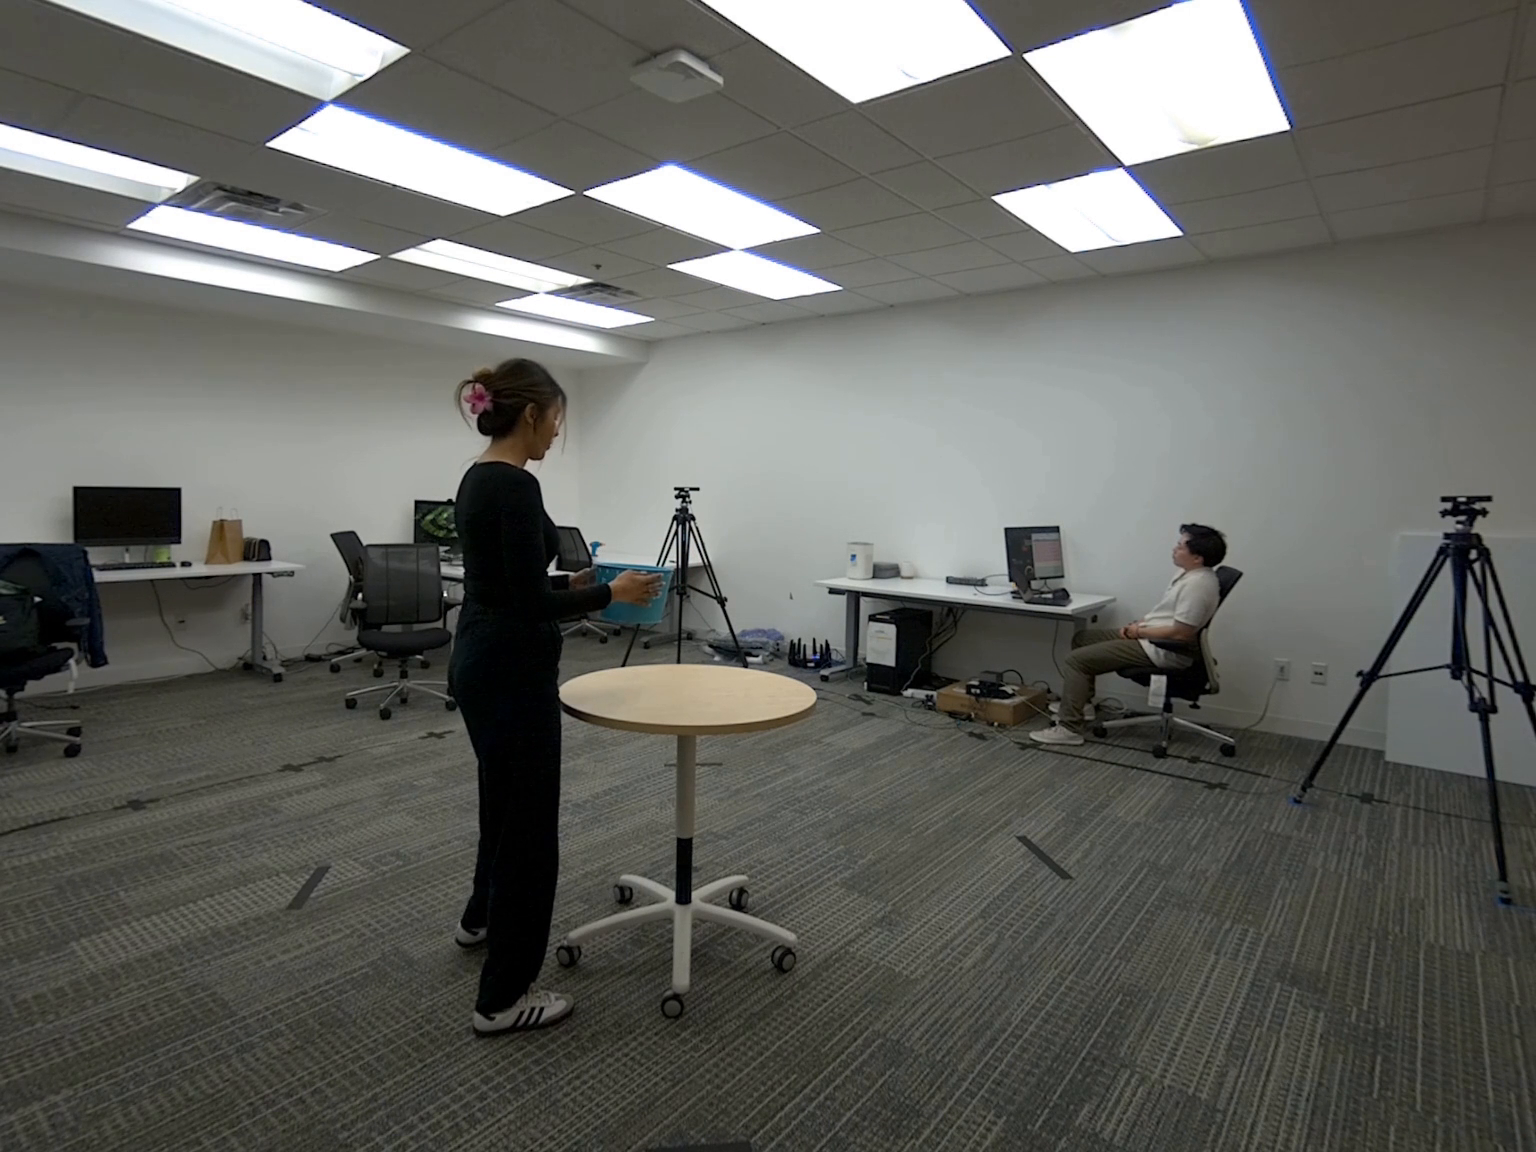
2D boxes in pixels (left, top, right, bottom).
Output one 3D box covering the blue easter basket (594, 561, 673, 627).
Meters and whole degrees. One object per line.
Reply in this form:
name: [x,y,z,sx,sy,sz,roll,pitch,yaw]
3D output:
blue easter basket: [-0.401,0.050,2.418,0.243,0.155,0.245,4,5,-2]
